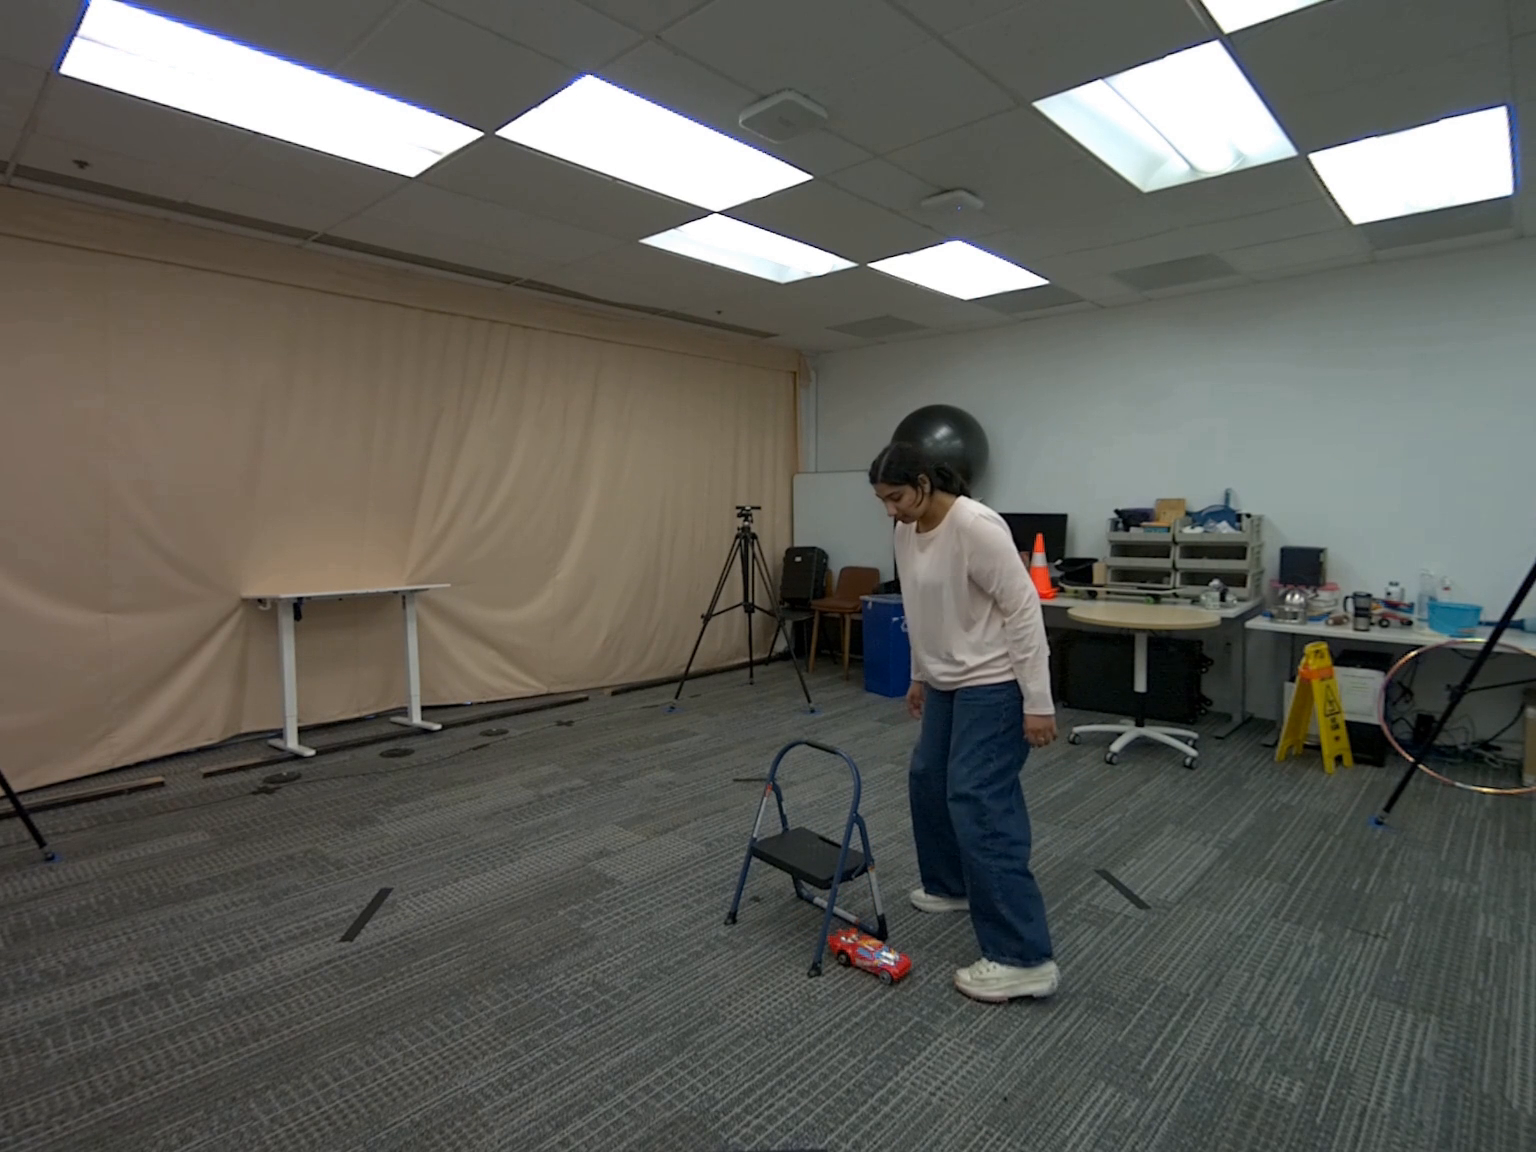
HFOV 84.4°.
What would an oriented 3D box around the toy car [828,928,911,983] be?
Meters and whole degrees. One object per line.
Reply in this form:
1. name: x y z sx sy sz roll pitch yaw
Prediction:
1. toy car: 0.308 1.151 2.548 0.264 0.083 0.126 19 16 39
